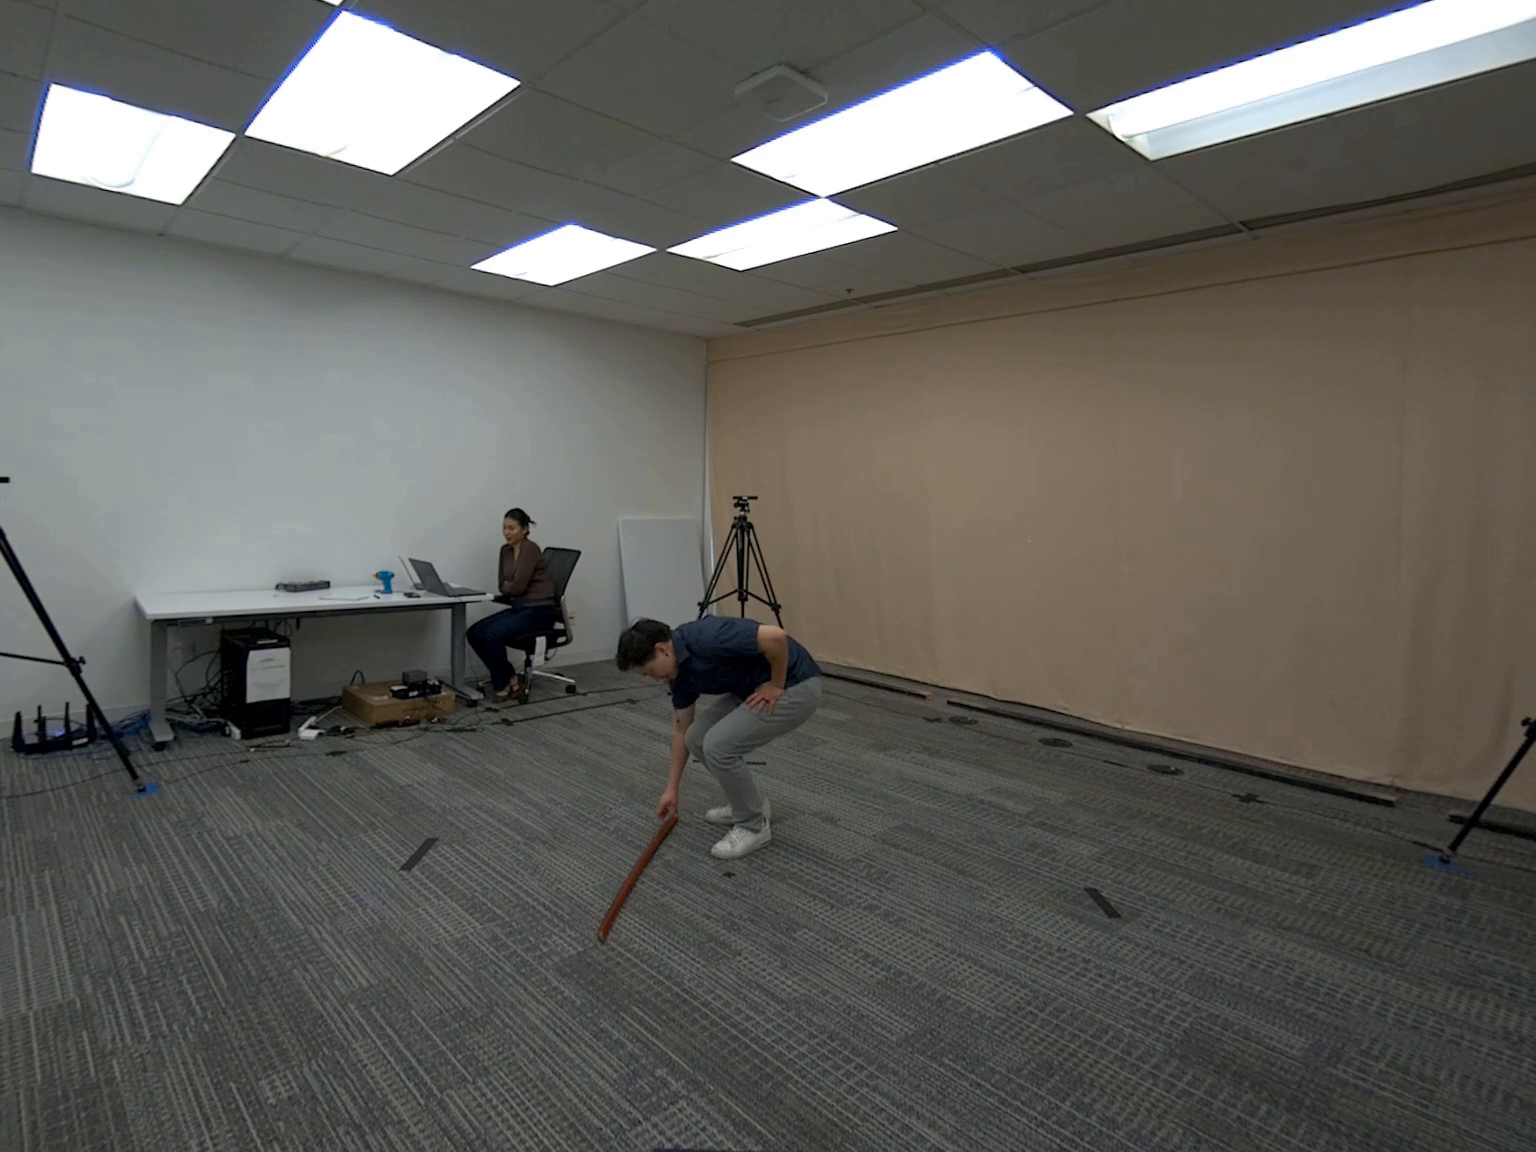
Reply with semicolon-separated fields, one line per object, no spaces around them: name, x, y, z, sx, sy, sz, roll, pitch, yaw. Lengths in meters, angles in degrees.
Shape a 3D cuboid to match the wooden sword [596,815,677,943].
wooden sword;-0.476;1.075;3.106;0.051;0.024;1.022;-7;6;8
